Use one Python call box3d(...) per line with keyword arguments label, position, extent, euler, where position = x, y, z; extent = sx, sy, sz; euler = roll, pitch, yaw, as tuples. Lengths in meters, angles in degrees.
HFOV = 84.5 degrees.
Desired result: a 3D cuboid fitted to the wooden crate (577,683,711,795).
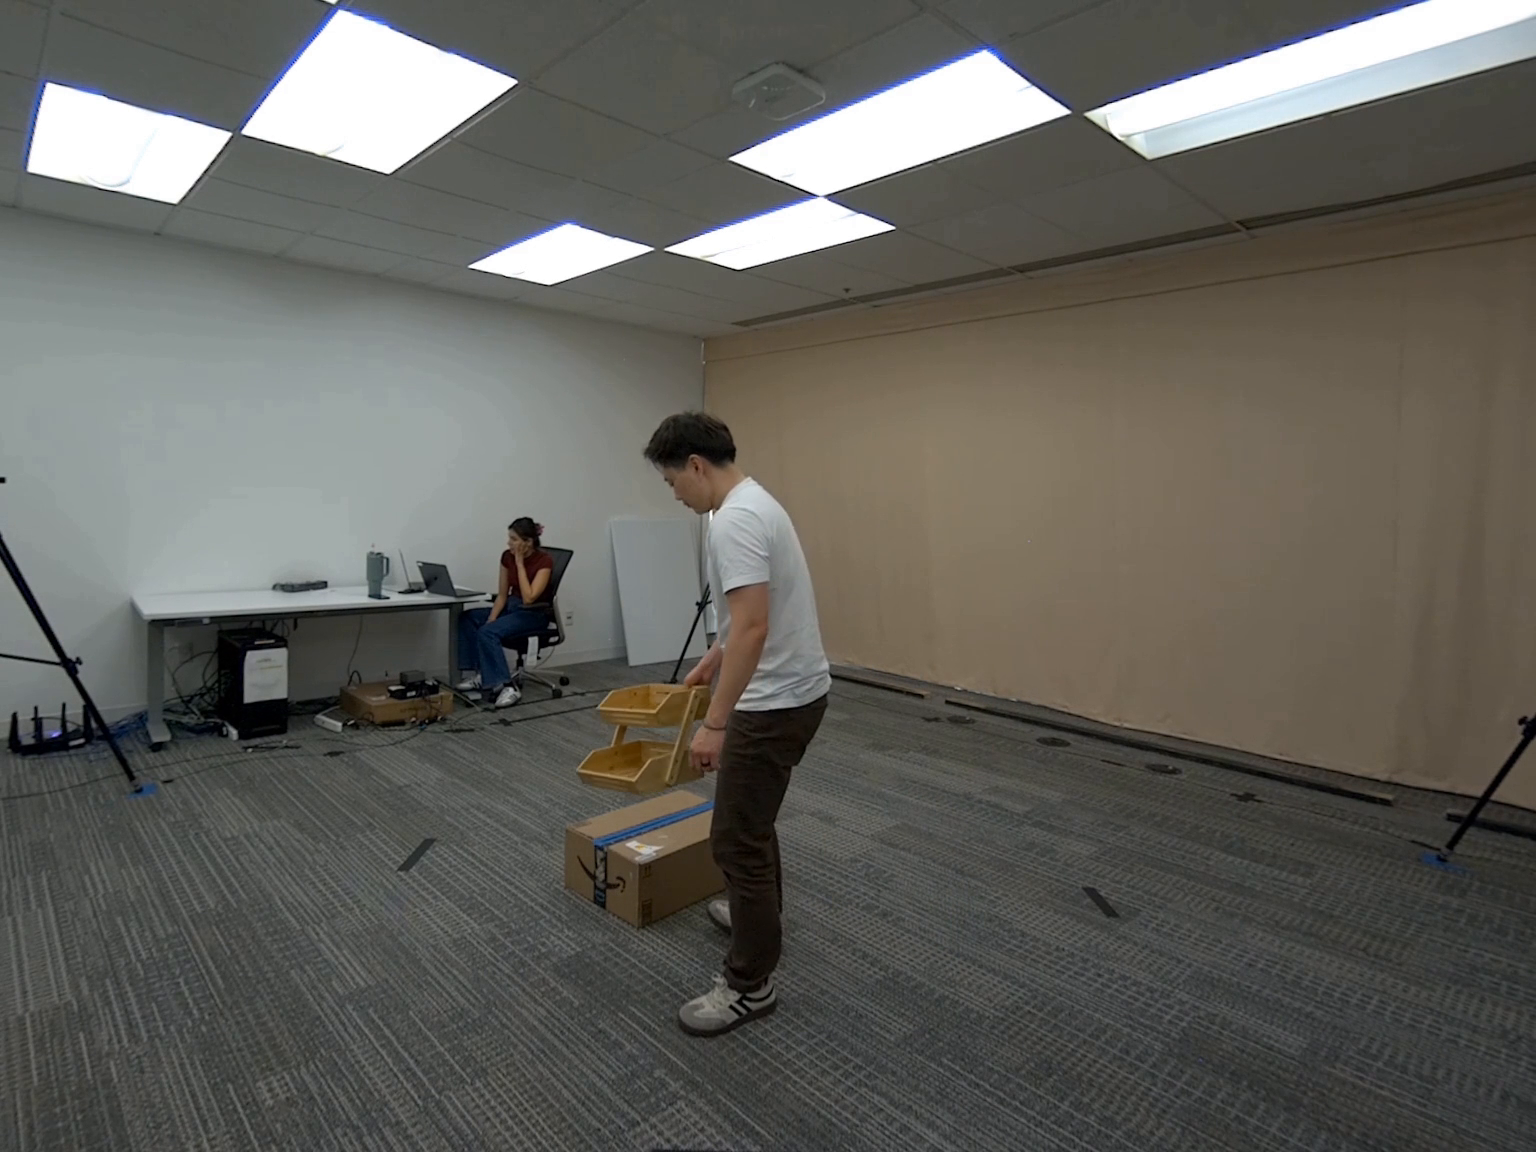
box3d(label="wooden crate", position=(-0.384, 0.487, 2.519), extent=(0.295, 0.274, 0.331), euler=(-3, -3, -44))
